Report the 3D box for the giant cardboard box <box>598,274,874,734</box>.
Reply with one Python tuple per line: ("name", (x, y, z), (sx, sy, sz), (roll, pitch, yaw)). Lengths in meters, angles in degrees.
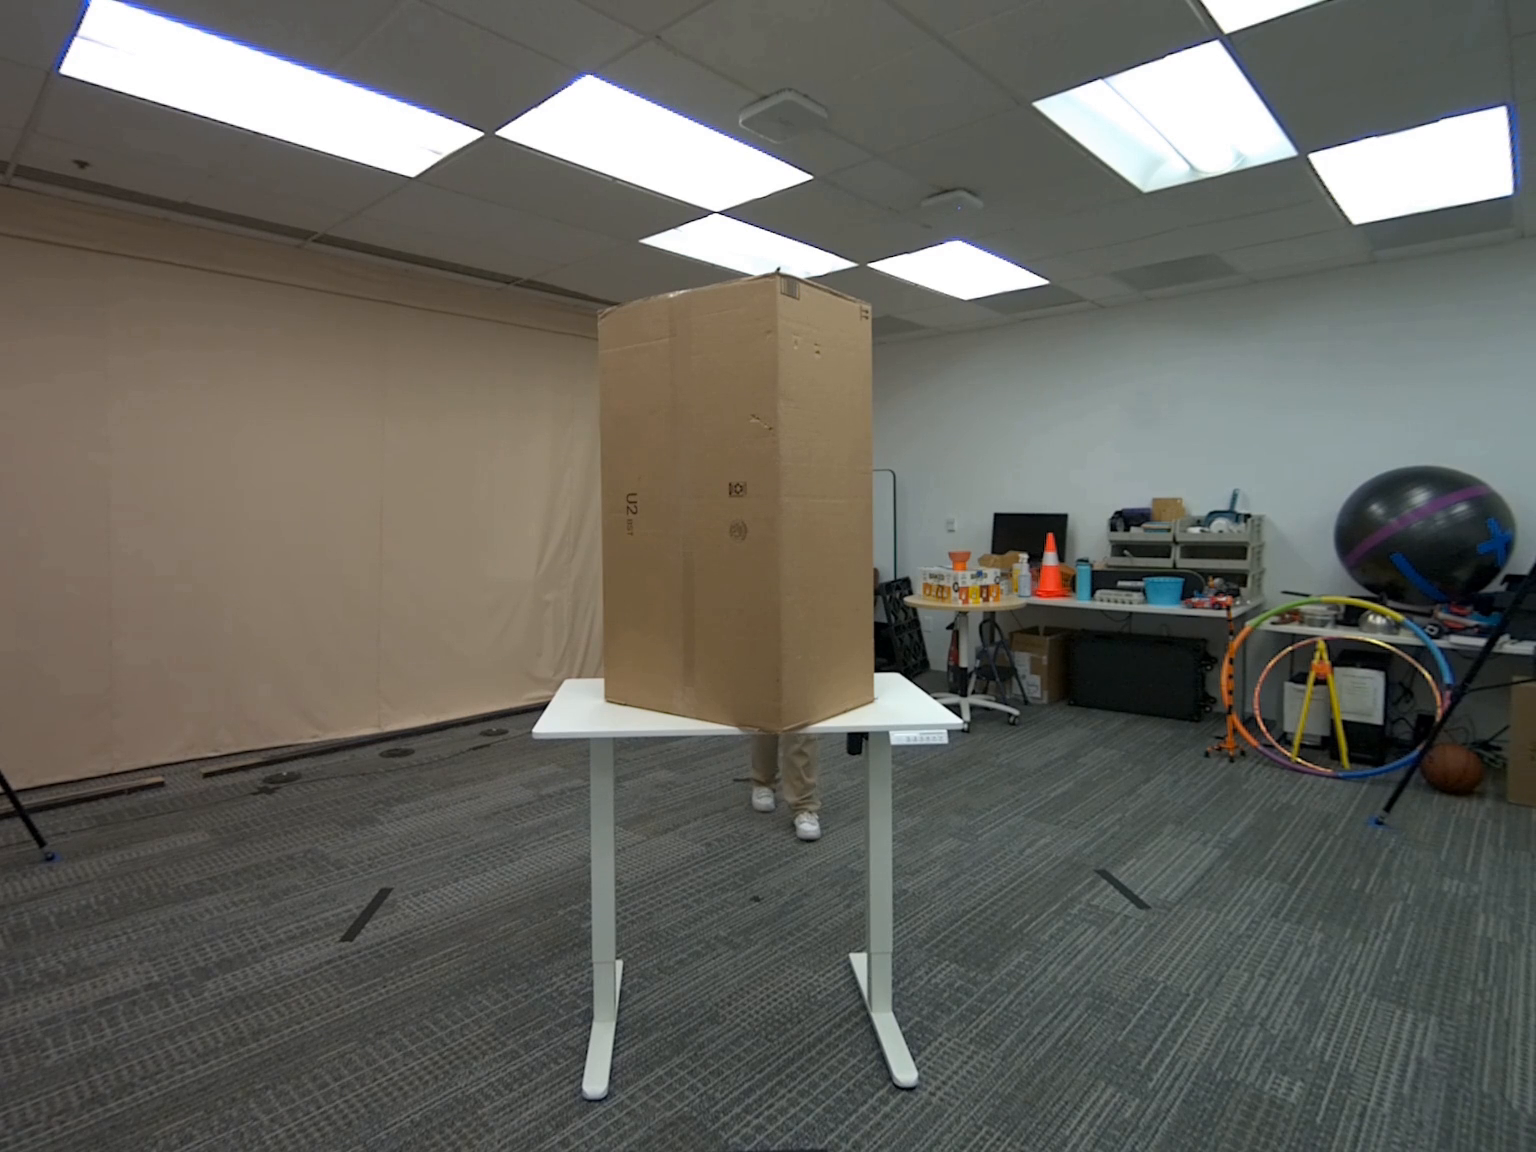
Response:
("giant cardboard box", (-0.082, -0.180, 2.179), (0.596, 1.024, 0.413), (1, 3, 38))
